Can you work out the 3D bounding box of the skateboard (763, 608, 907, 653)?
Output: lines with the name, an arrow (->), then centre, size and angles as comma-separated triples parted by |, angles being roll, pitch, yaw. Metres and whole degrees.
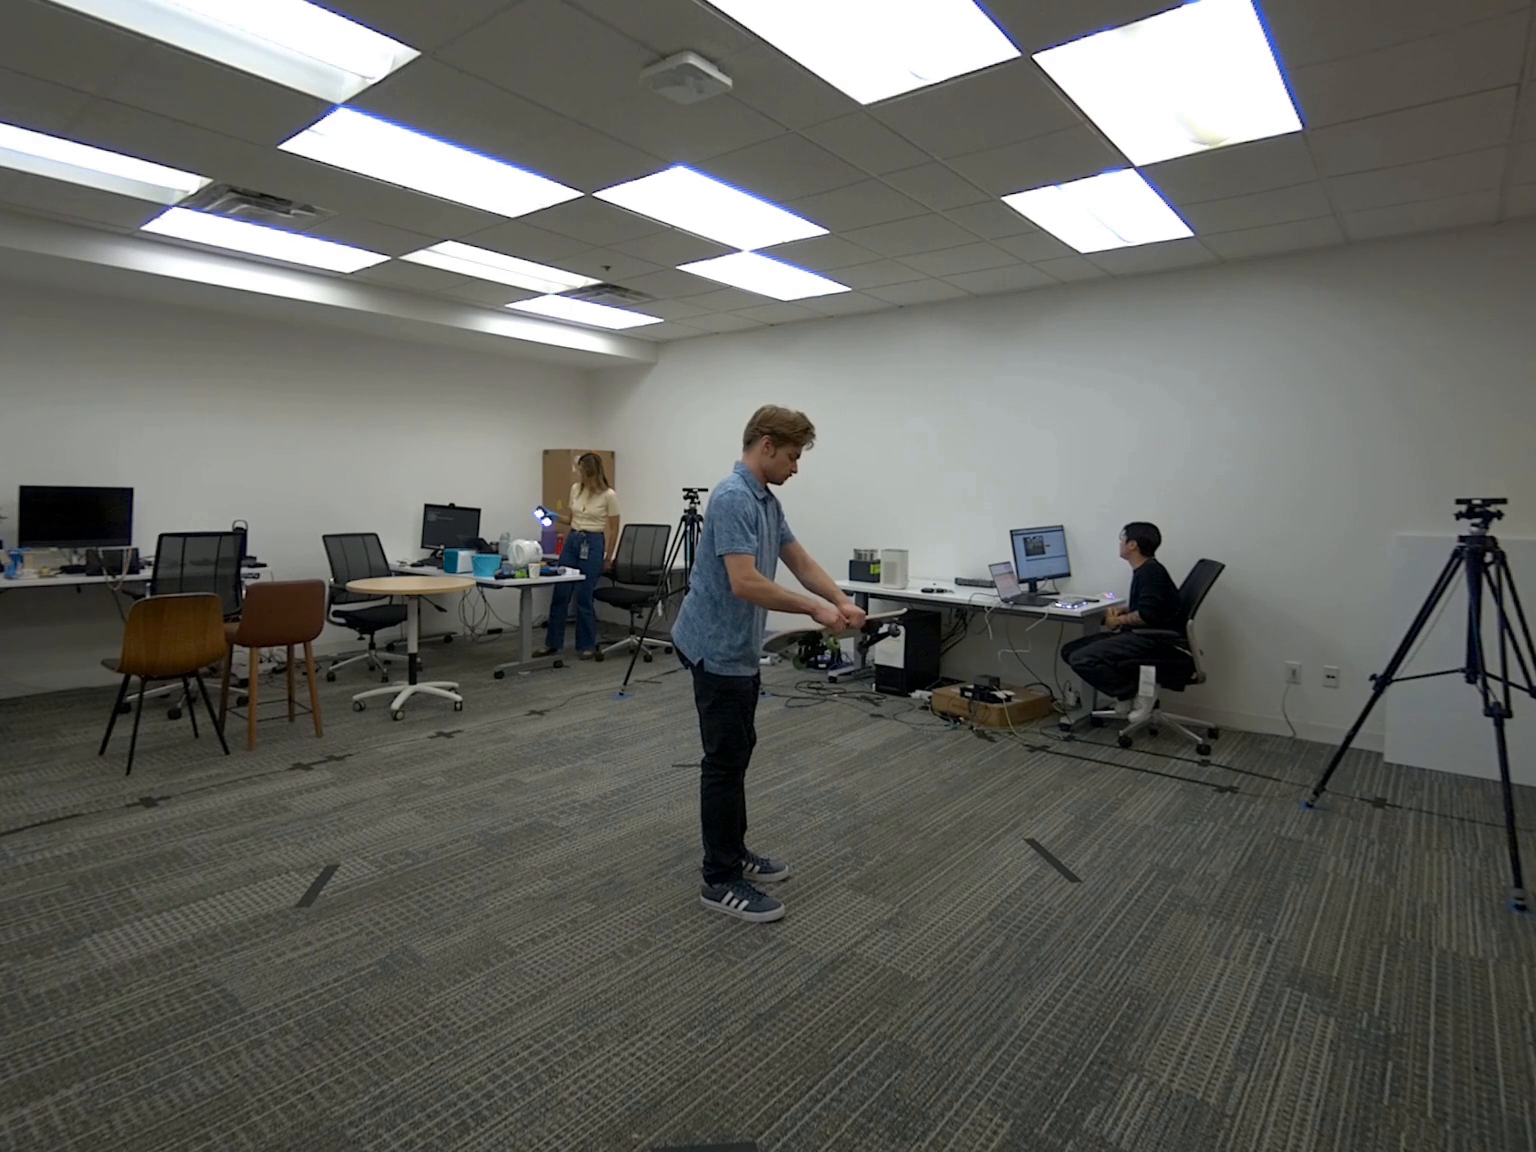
skateboard -> 0.258, 0.225, 2.958 | 0.194, 0.113, 0.763 | -38, -19, 33
